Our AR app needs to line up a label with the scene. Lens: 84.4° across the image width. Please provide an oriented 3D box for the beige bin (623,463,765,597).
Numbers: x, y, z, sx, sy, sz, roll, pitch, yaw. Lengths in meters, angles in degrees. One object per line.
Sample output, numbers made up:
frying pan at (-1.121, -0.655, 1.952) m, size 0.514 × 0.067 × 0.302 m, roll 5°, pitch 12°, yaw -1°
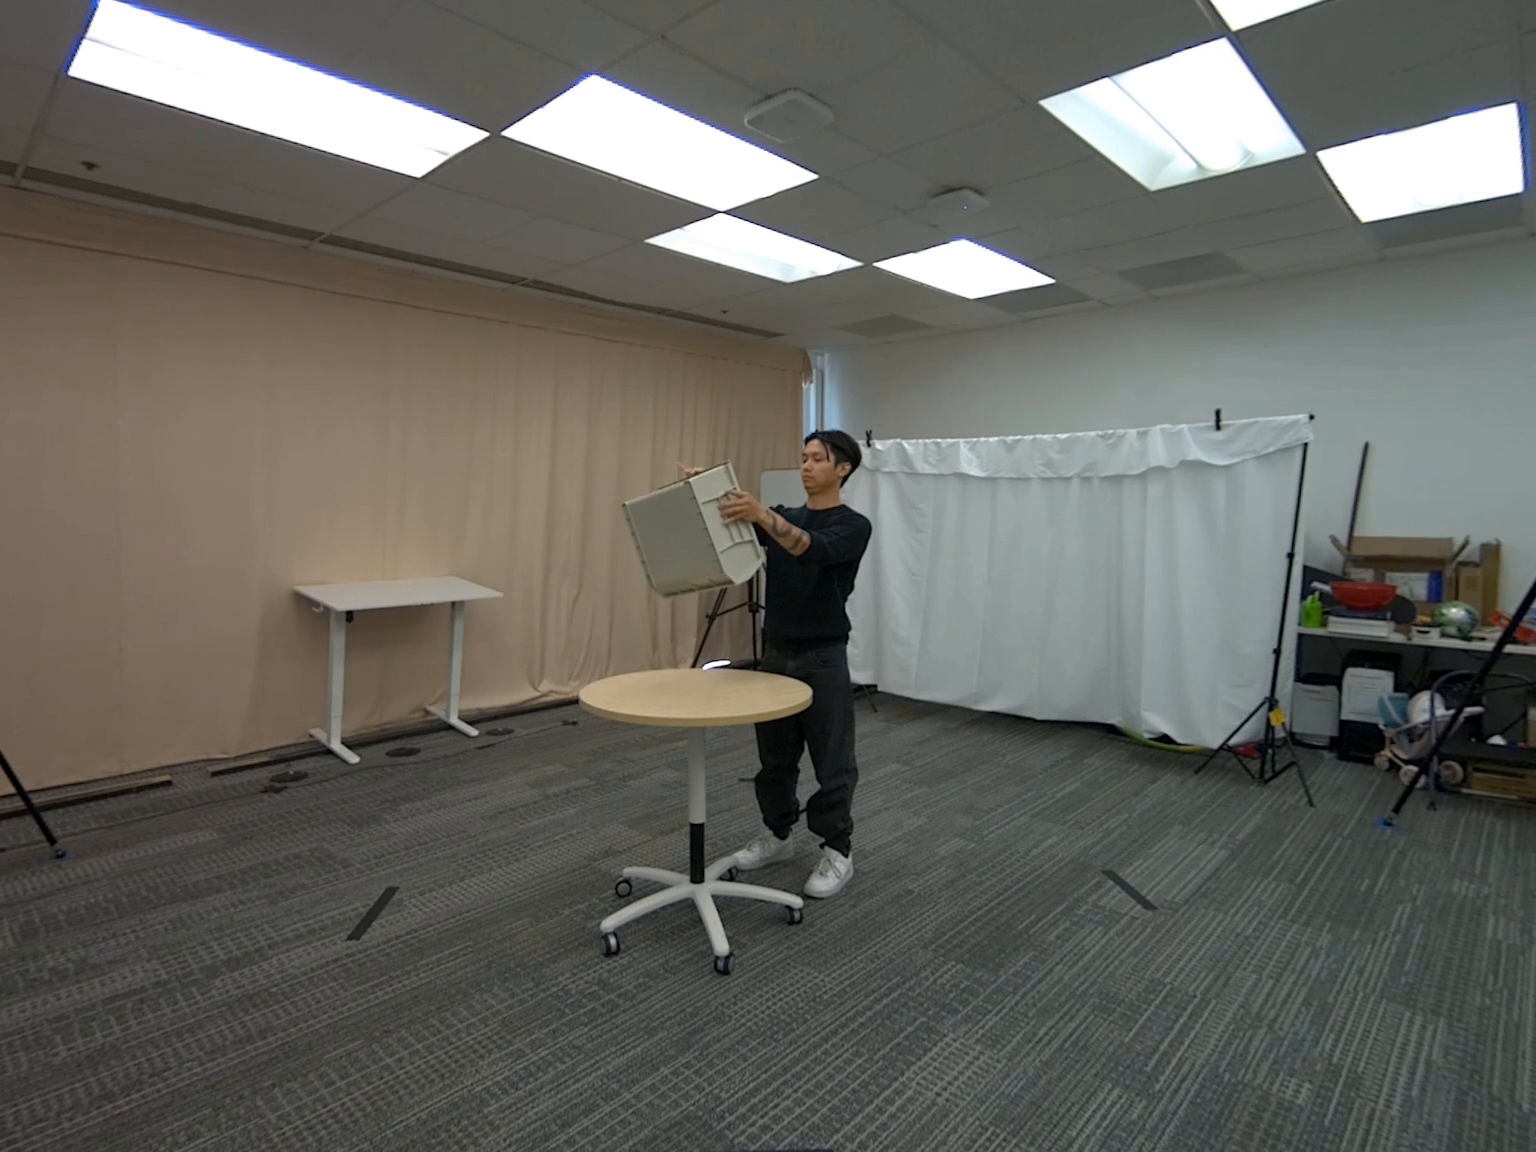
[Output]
beige bin at (-0.258, -0.135, 2.824) m, size 0.185 × 0.375 × 0.434 m, roll -26°, pitch 9°, yaw -39°
